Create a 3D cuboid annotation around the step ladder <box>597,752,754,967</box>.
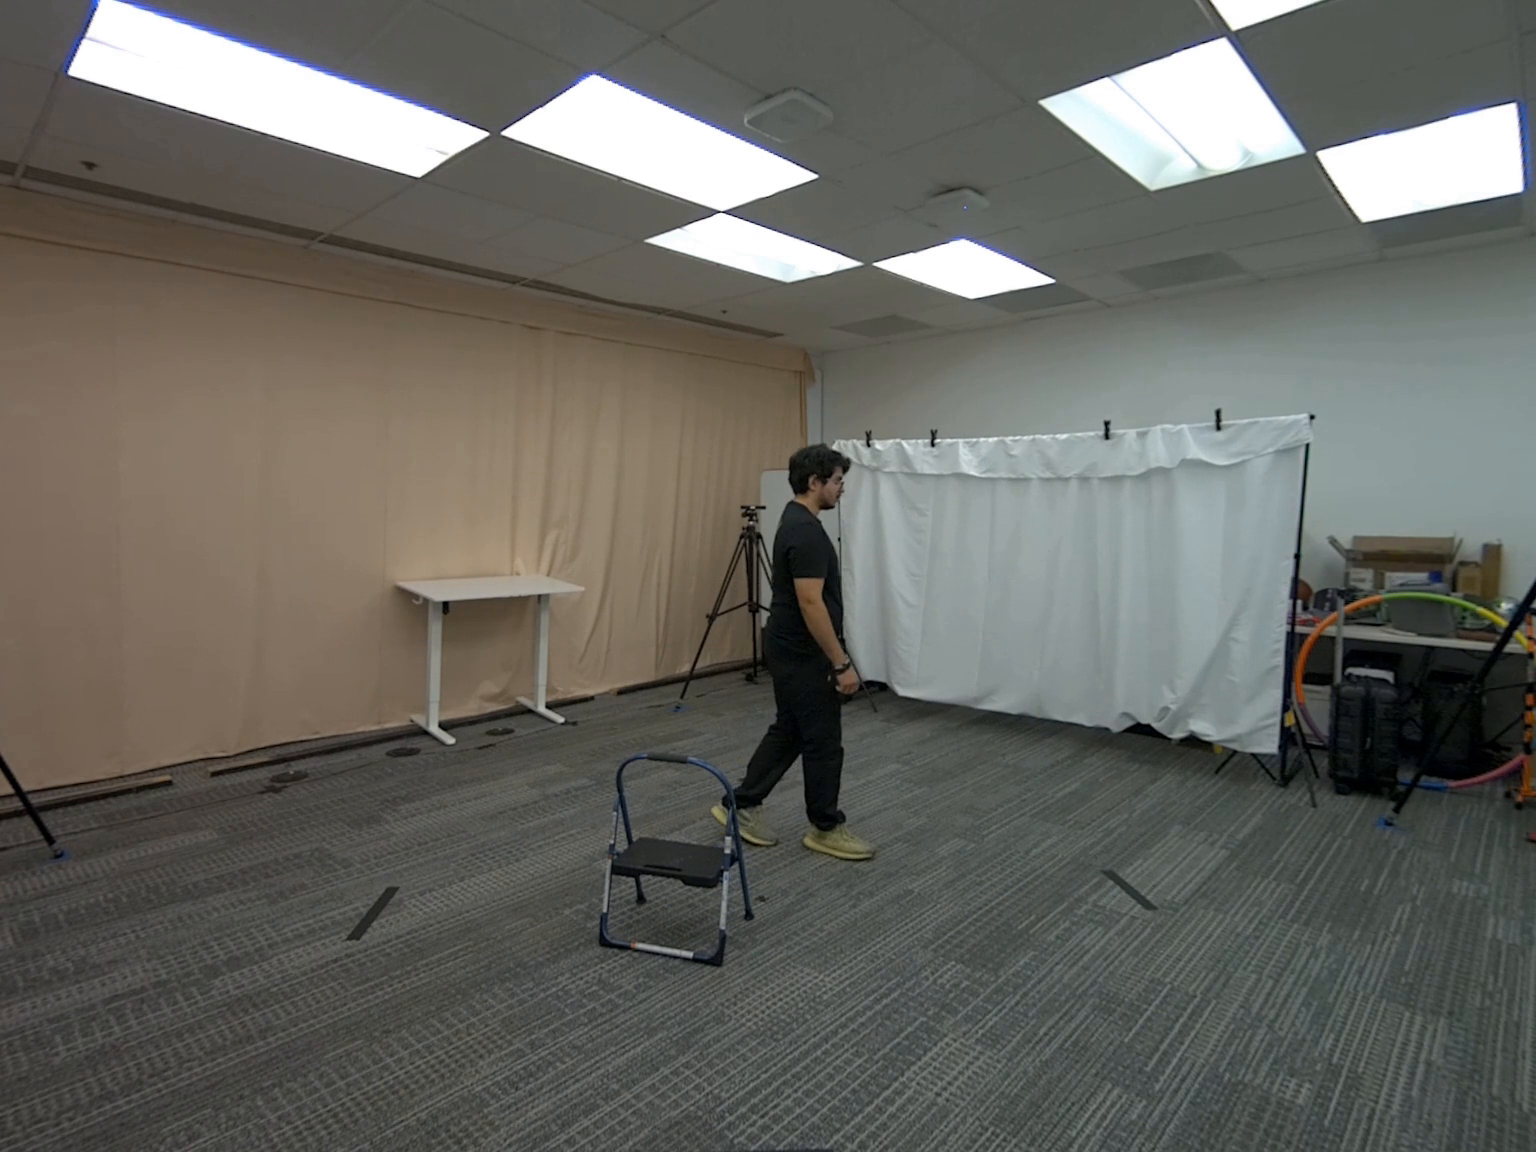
[{"bbox_3d":[-0.297,0.863,2.744,0.439,0.605,0.343,1,3,17],"label":"step ladder"}]
